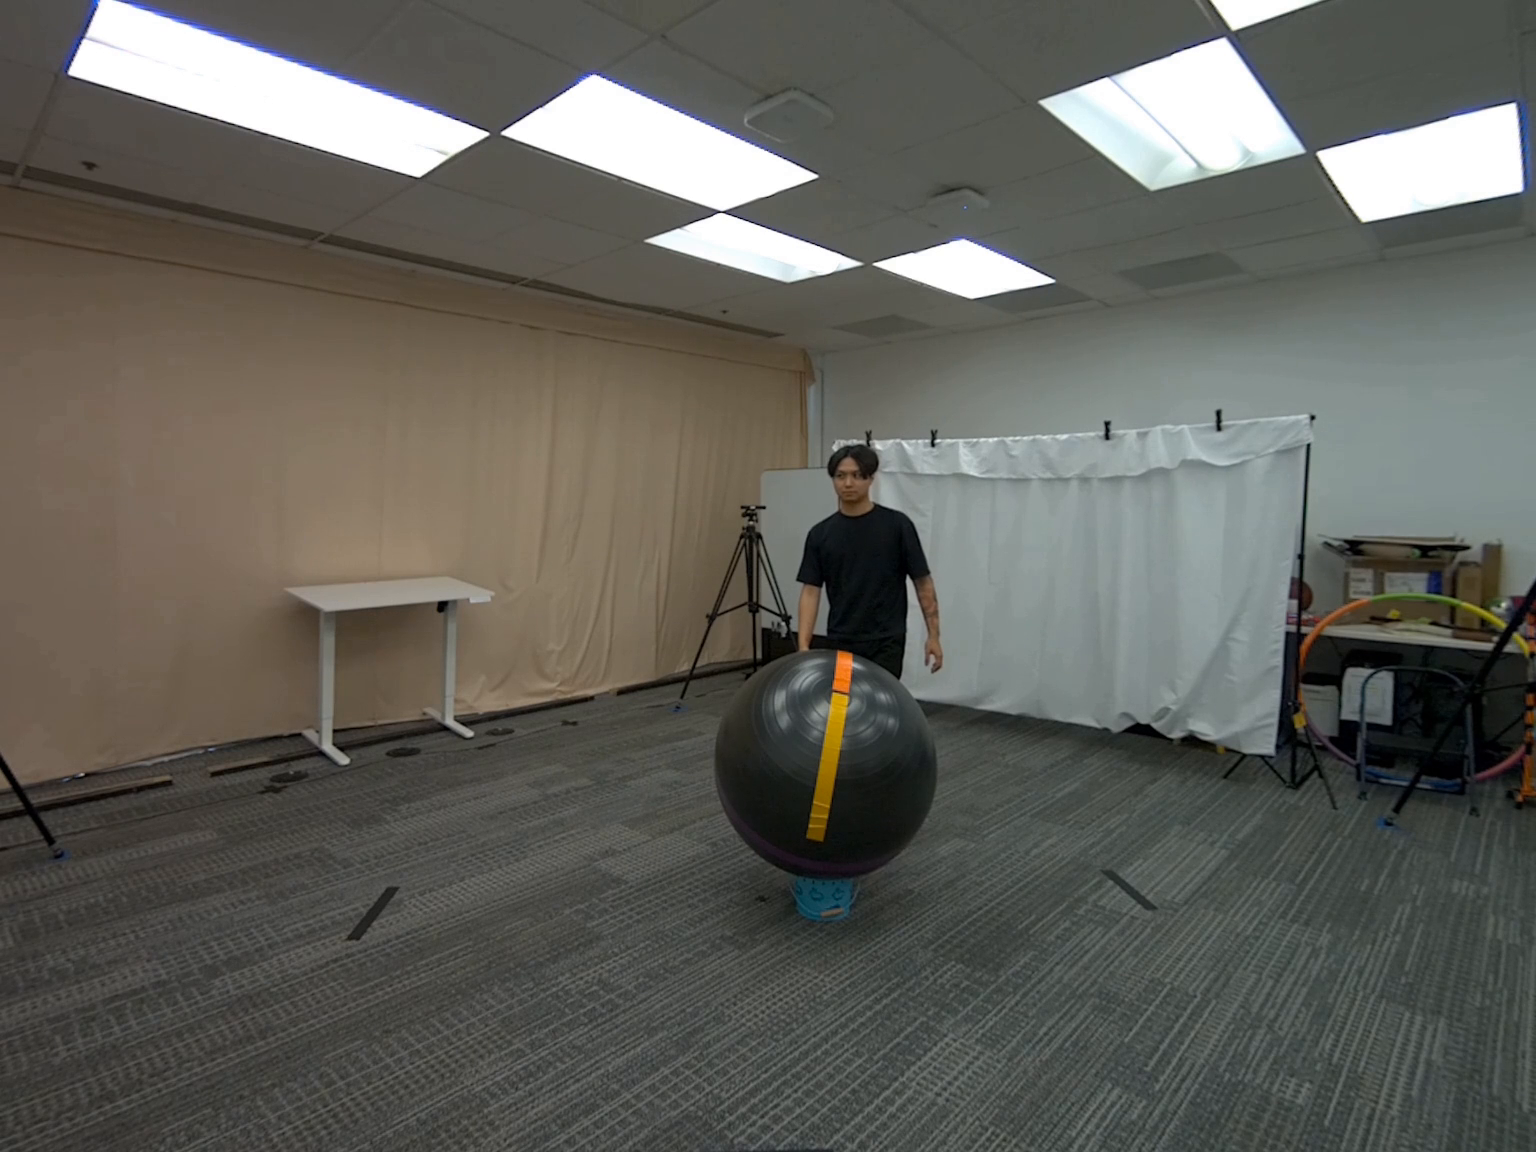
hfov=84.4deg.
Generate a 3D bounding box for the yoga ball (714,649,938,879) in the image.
[{"bbox_3d":[0.195,0.643,2.885,0.757,0.756,0.760,0,4,-2],"label":"yoga ball"}]
